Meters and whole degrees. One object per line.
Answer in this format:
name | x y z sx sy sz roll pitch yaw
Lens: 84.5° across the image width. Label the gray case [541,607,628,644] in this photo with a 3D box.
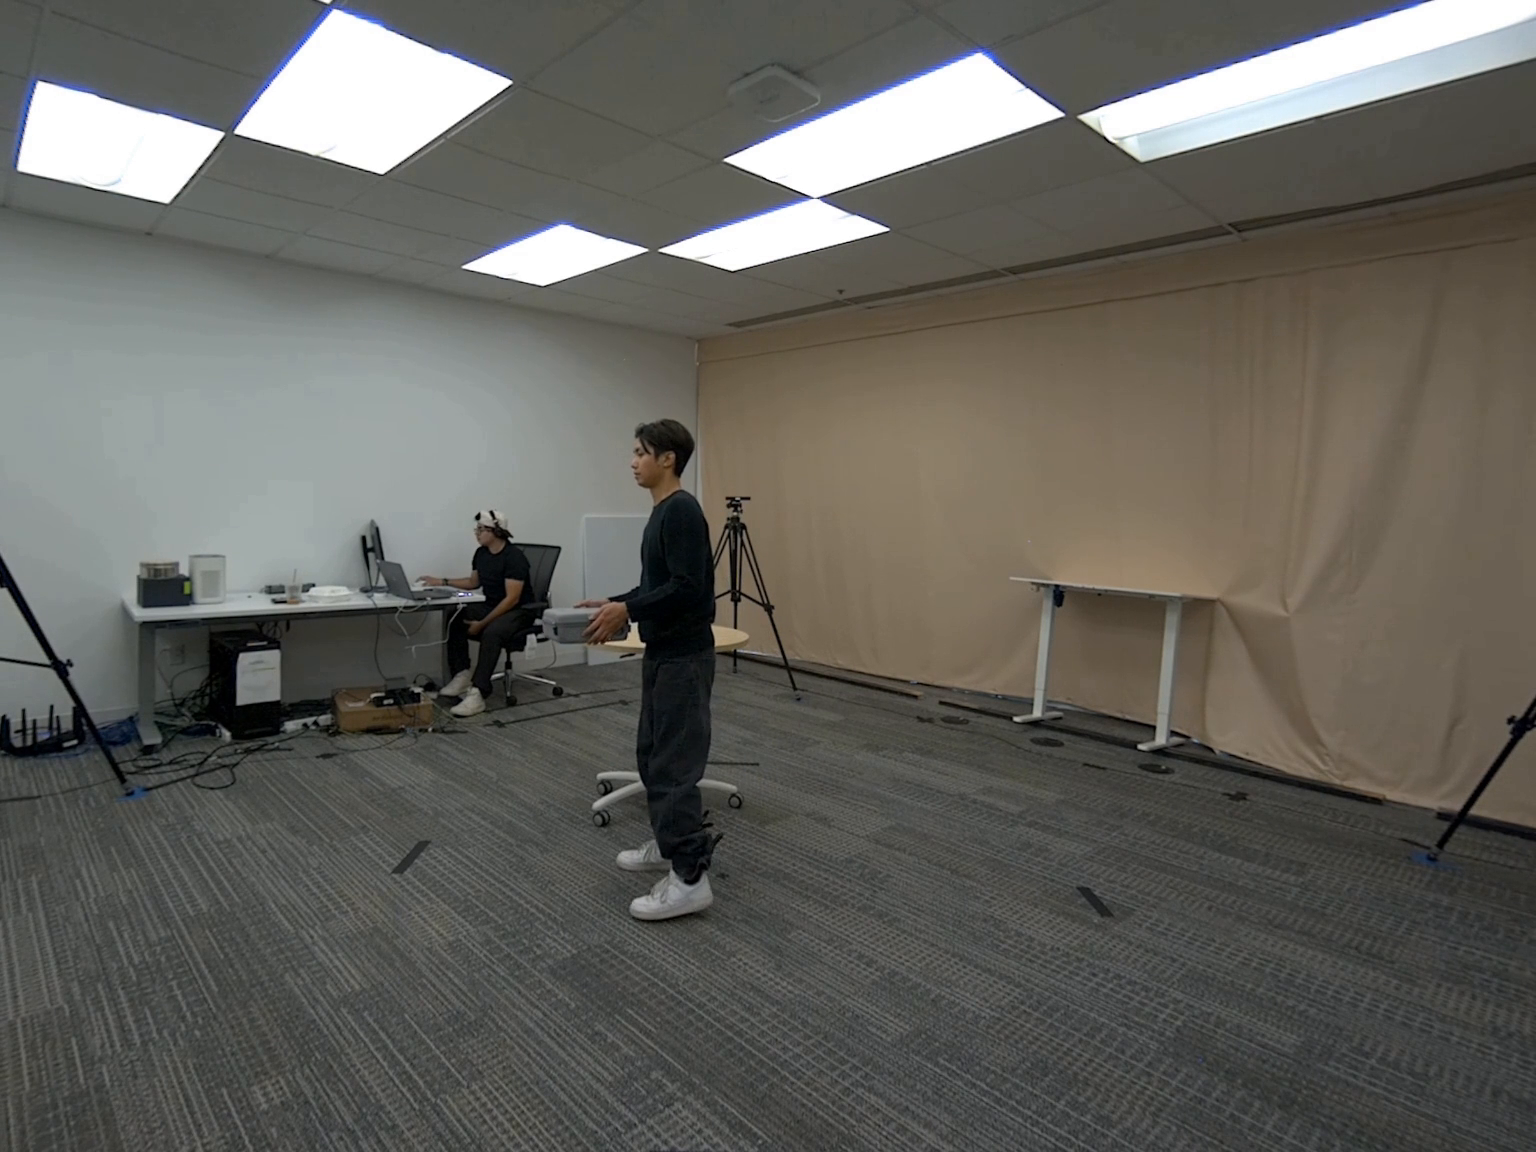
gray case | -0.644 0.165 2.936 0.256 0.104 0.261 0 1 -24
